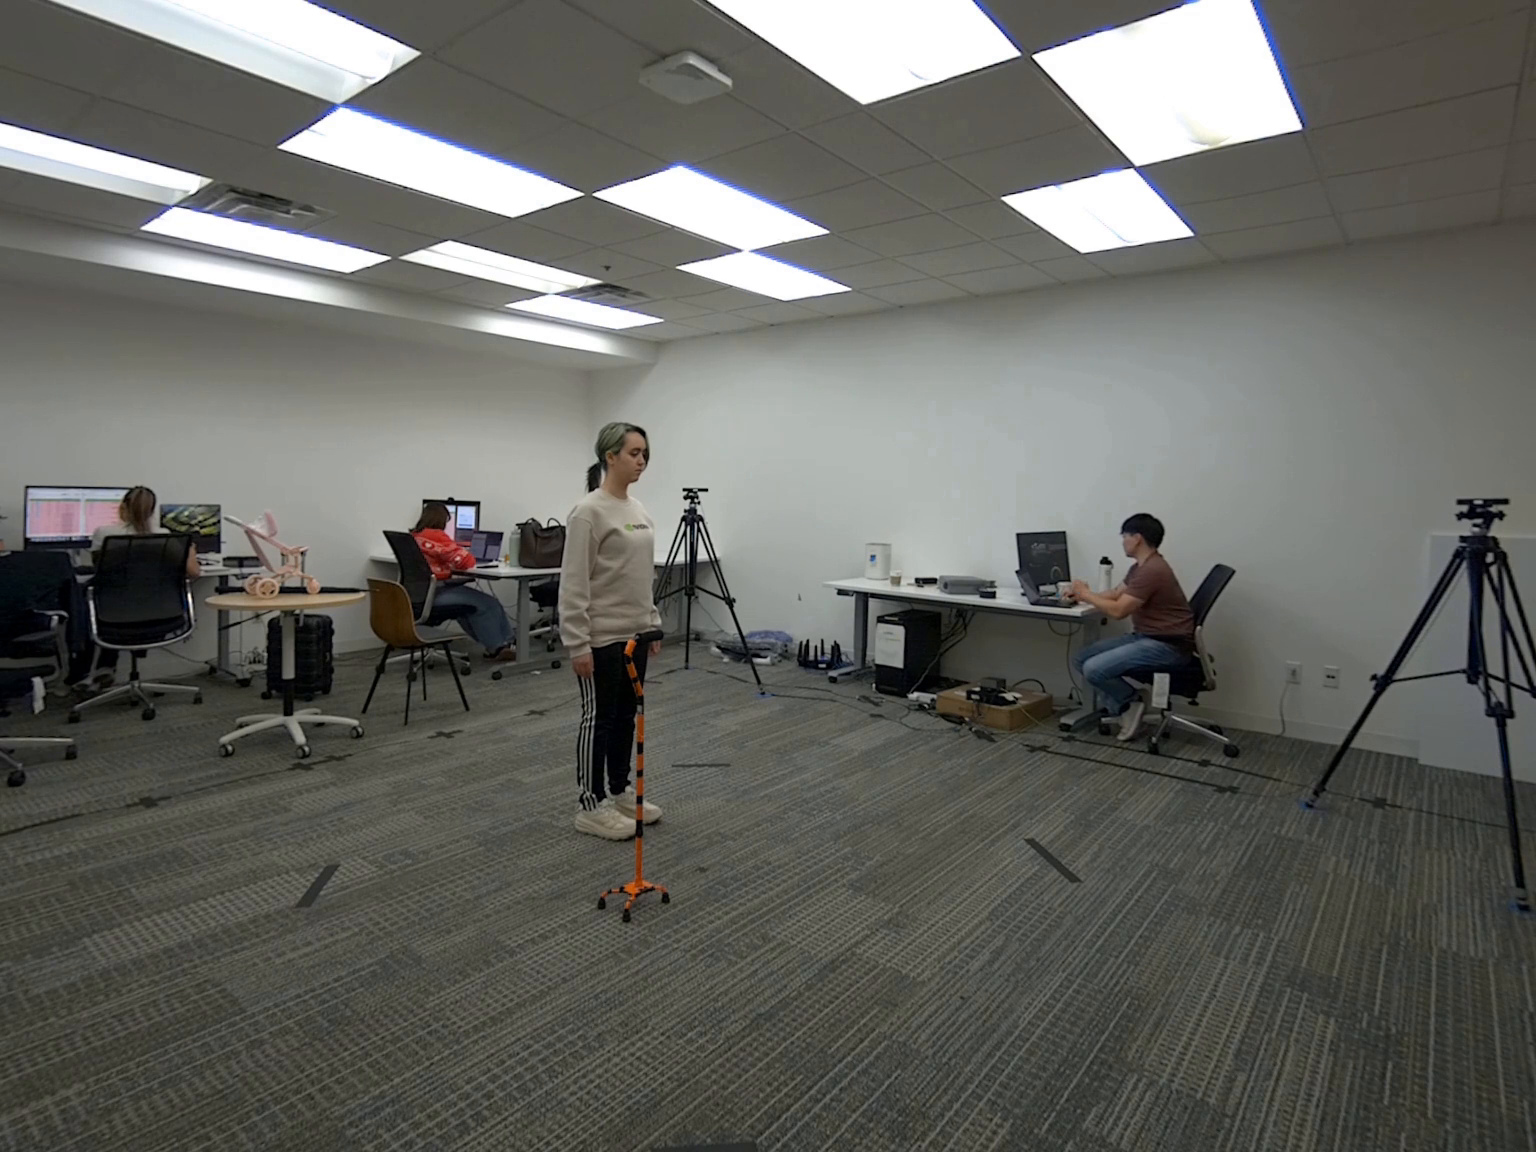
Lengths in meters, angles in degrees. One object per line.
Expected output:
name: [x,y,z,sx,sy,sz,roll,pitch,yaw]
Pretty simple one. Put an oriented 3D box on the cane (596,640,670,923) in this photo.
cane: [-0.437,0.639,2.814,0.157,0.906,0.200,4,3,41]
